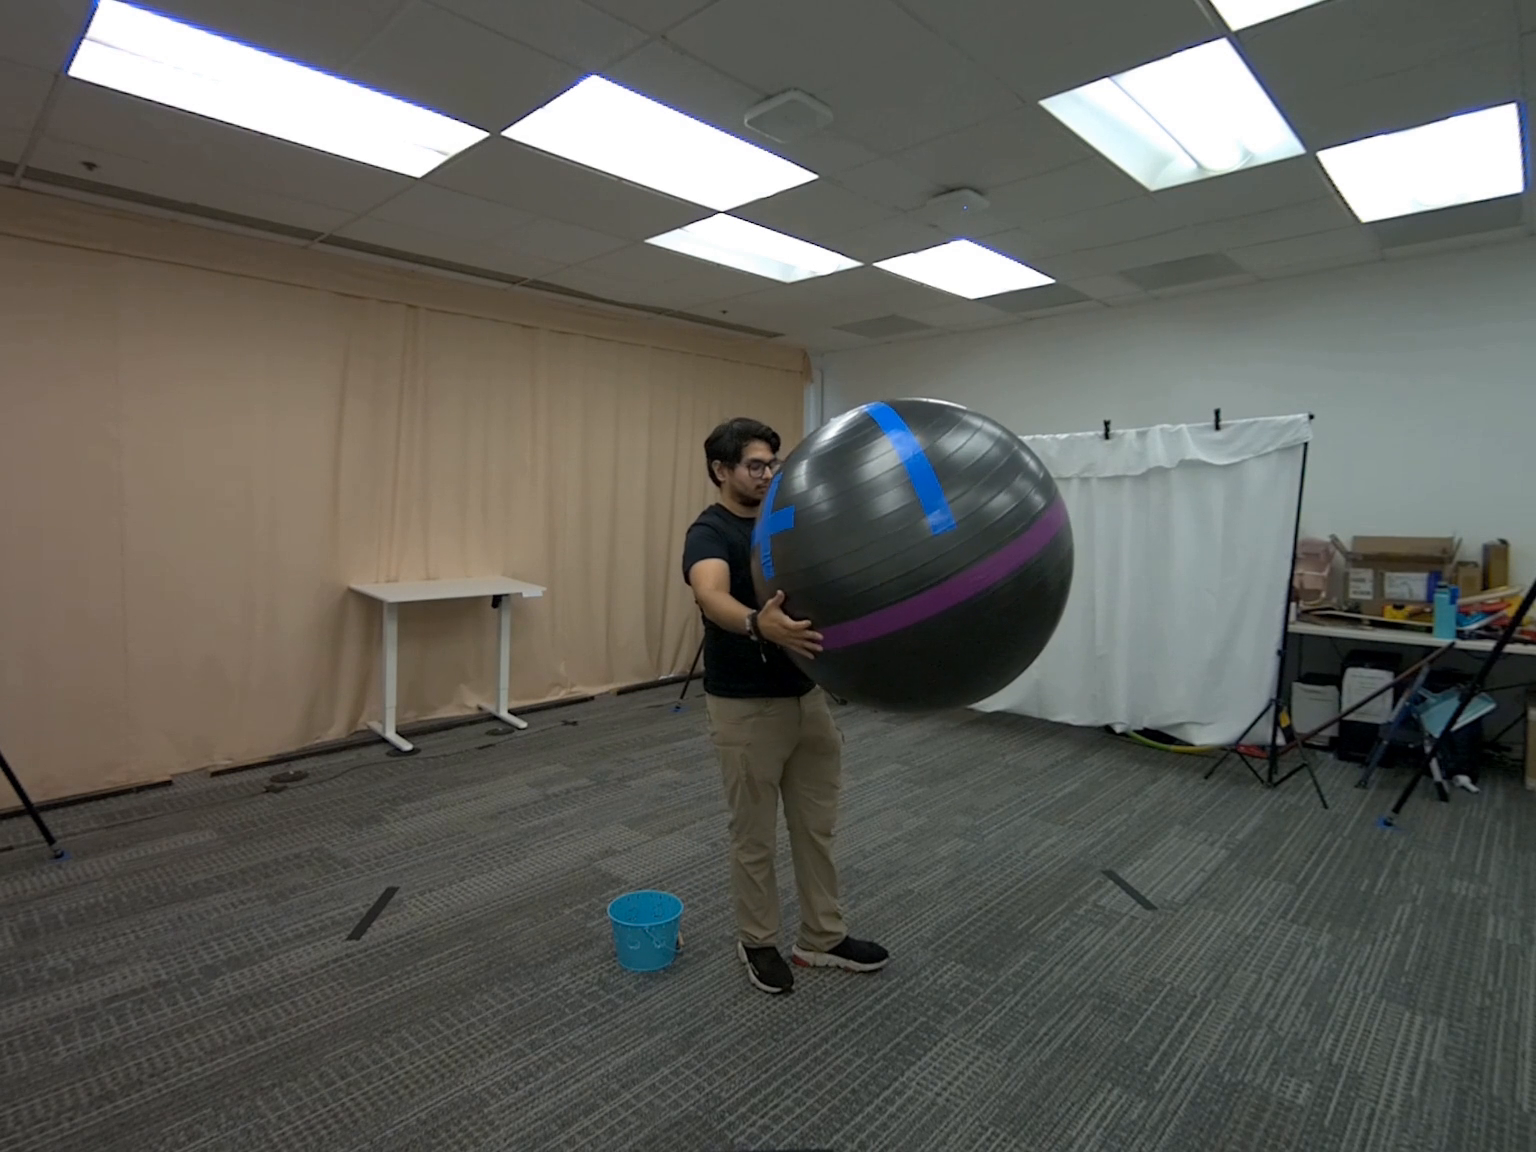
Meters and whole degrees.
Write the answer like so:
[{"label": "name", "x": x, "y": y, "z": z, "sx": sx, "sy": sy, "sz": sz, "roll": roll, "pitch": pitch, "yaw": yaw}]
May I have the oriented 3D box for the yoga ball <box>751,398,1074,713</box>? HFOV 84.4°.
[{"label": "yoga ball", "x": 0.350, "y": -0.041, "z": 2.031, "sx": 0.757, "sy": 0.756, "sz": 0.760, "roll": 0, "pitch": 4, "yaw": -2}]
